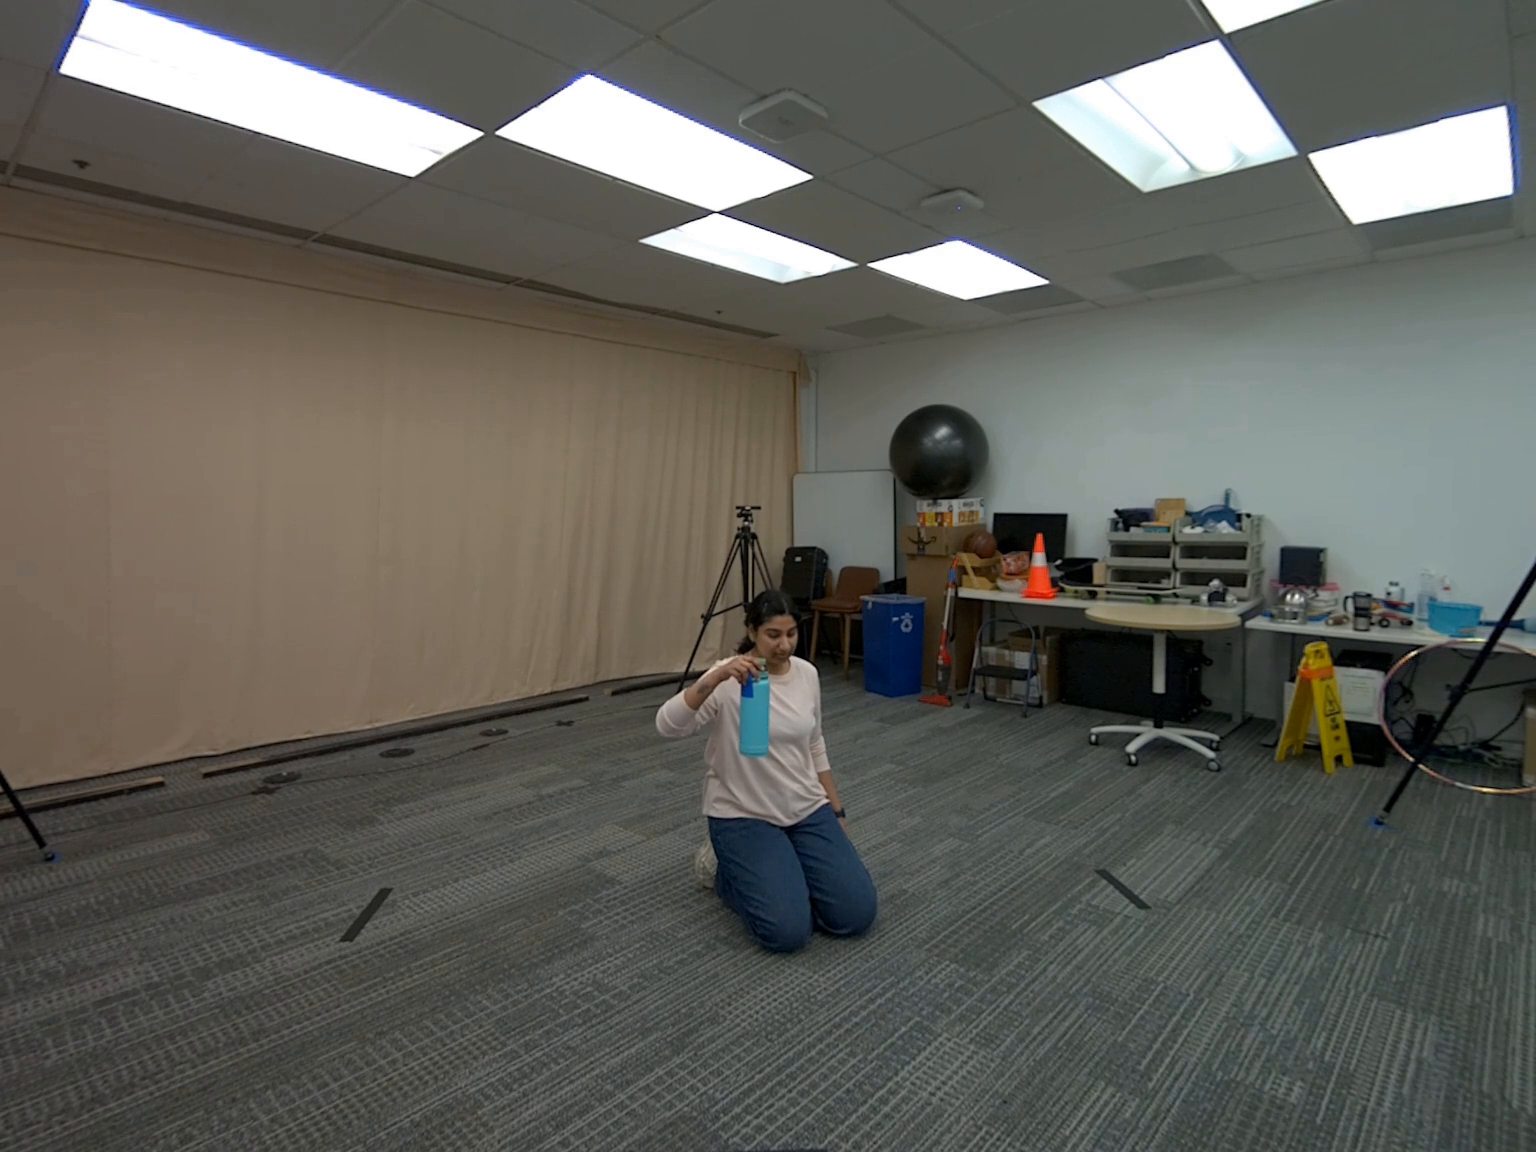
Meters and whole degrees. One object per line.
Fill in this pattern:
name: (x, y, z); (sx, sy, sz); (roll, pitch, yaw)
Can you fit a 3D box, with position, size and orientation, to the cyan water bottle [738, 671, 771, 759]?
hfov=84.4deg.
cyan water bottle: (-0.046, 0.391, 2.519); (0.092, 0.282, 0.093); (0, 5, -2)
